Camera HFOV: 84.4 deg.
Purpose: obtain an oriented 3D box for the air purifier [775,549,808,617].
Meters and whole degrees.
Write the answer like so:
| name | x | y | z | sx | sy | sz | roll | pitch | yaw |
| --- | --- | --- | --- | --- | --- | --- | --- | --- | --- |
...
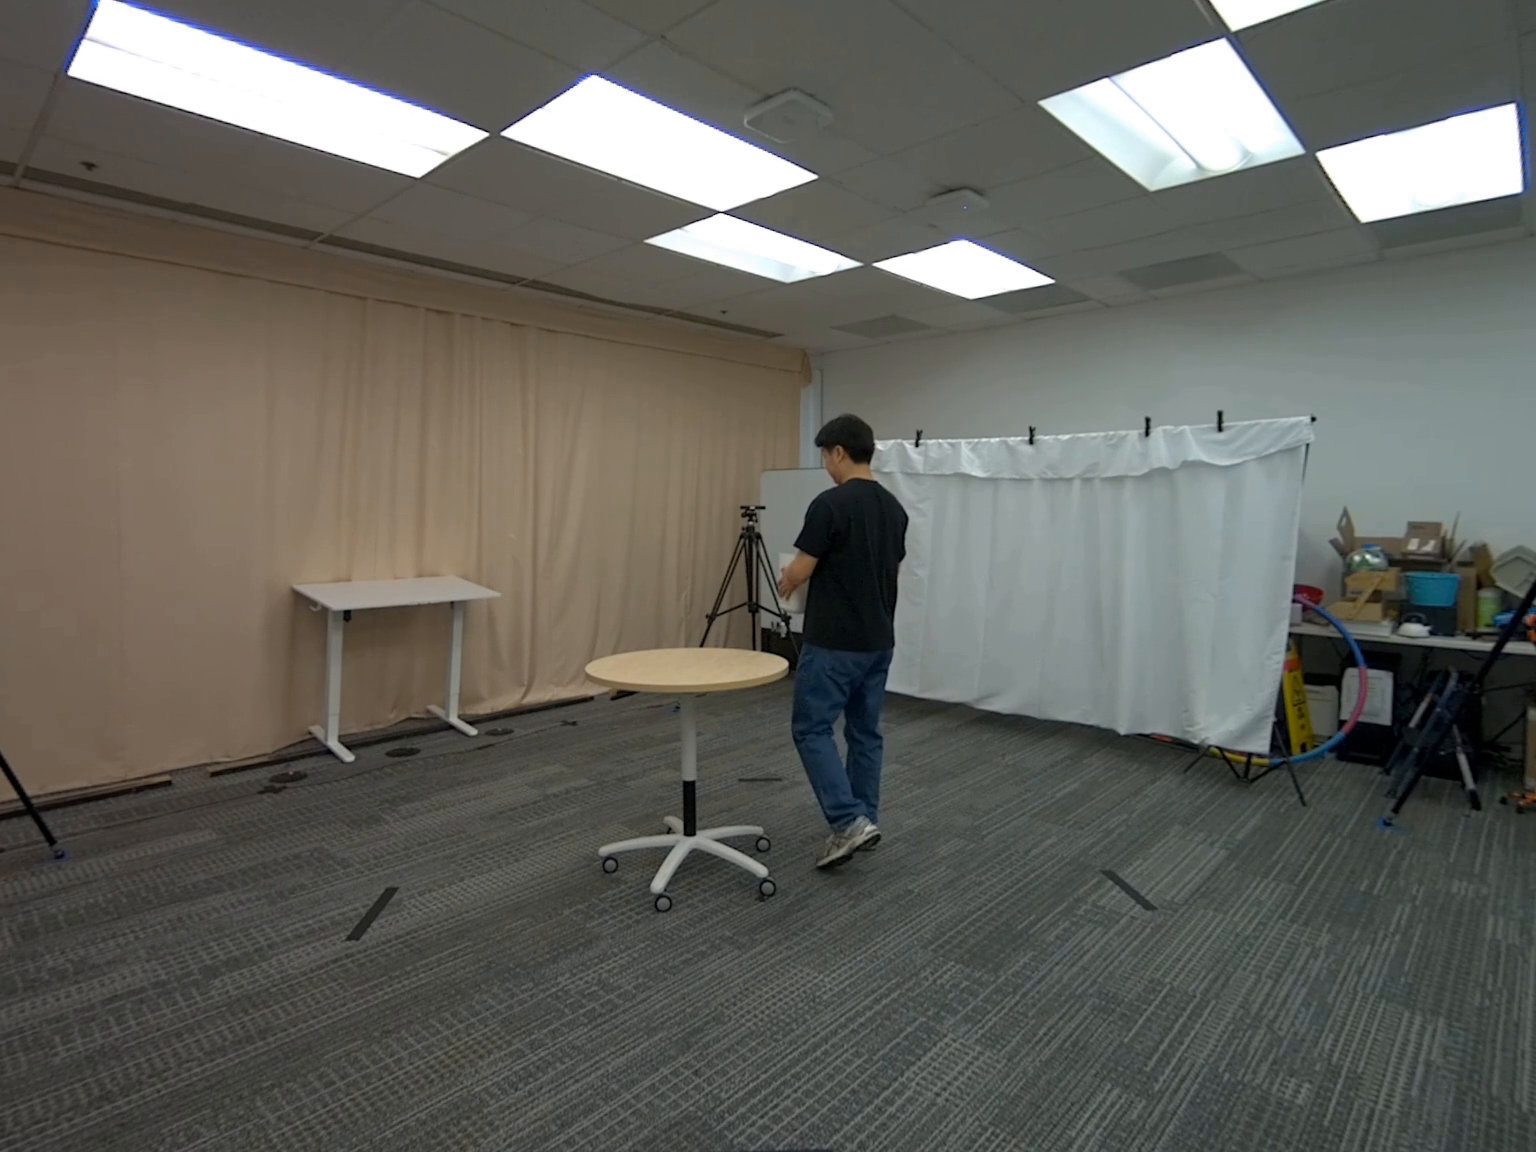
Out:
| name | x | y | z | sx | sy | sz | roll | pitch | yaw |
| --- | --- | --- | --- | --- | --- | --- | --- | --- | --- |
| air purifier | 0.153 | 0.024 | 3.663 | 0.167 | 0.264 | 0.176 | -2 | 6 | -28 |
